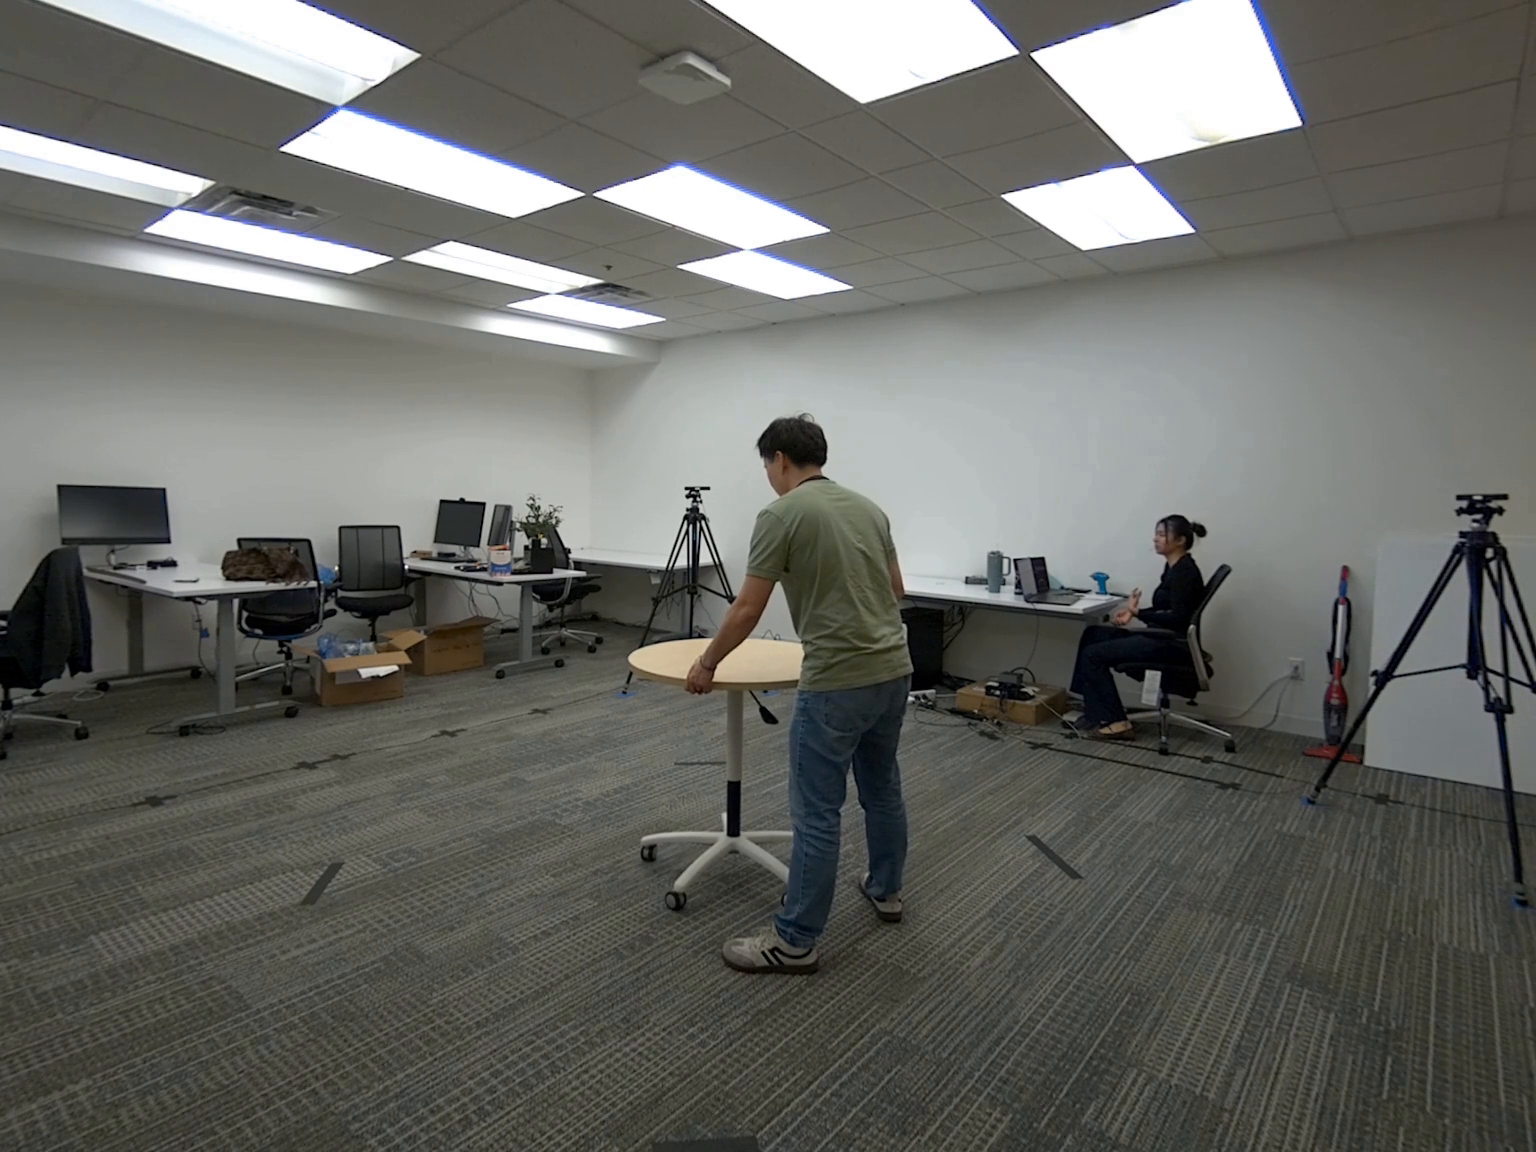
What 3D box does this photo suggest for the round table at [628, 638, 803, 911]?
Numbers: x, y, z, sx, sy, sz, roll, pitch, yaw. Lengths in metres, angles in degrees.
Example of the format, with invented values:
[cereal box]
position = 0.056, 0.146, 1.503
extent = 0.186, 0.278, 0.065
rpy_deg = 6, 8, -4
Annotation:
[round table]
position = -0.136, 0.684, 3.049
extent = 0.763, 0.791, 0.768
rpy_deg = 0, 4, -2
